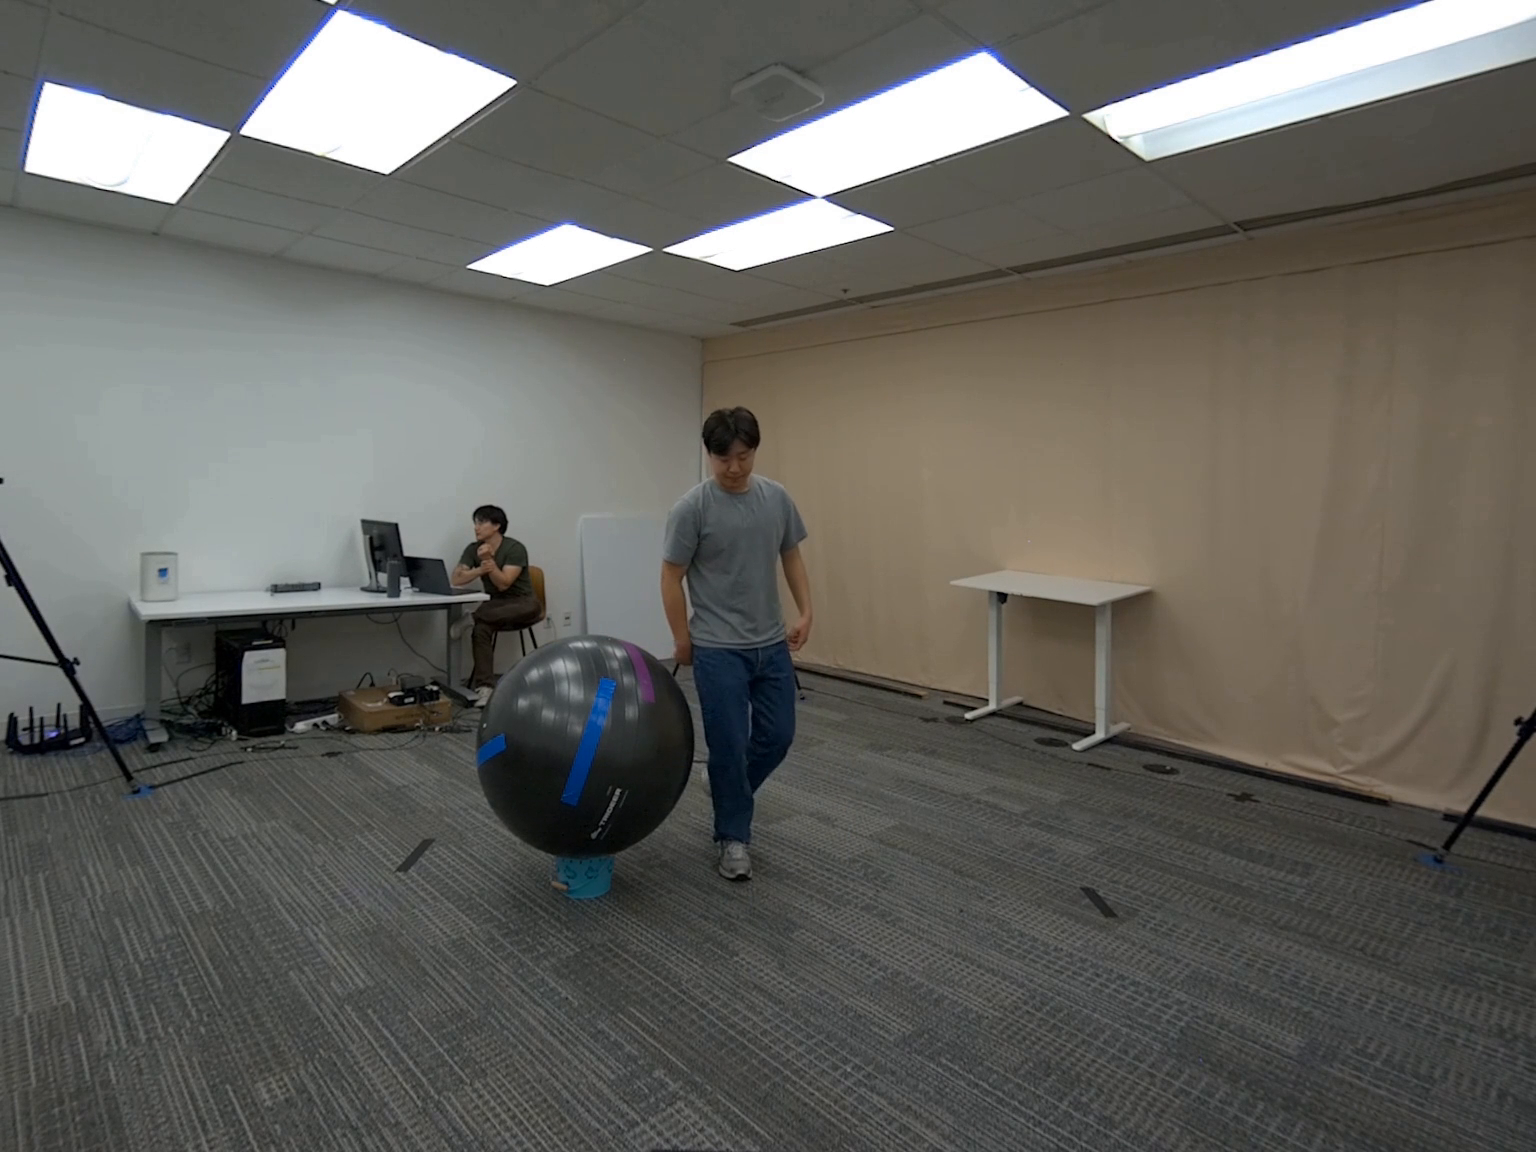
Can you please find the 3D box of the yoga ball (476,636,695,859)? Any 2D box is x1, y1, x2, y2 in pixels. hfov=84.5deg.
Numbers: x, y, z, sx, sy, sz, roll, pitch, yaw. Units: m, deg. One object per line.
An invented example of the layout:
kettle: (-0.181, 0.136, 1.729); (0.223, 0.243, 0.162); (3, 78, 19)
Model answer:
yoga ball: (-0.651, 0.598, 2.966); (0.757, 0.756, 0.761); (1, 4, -1)
